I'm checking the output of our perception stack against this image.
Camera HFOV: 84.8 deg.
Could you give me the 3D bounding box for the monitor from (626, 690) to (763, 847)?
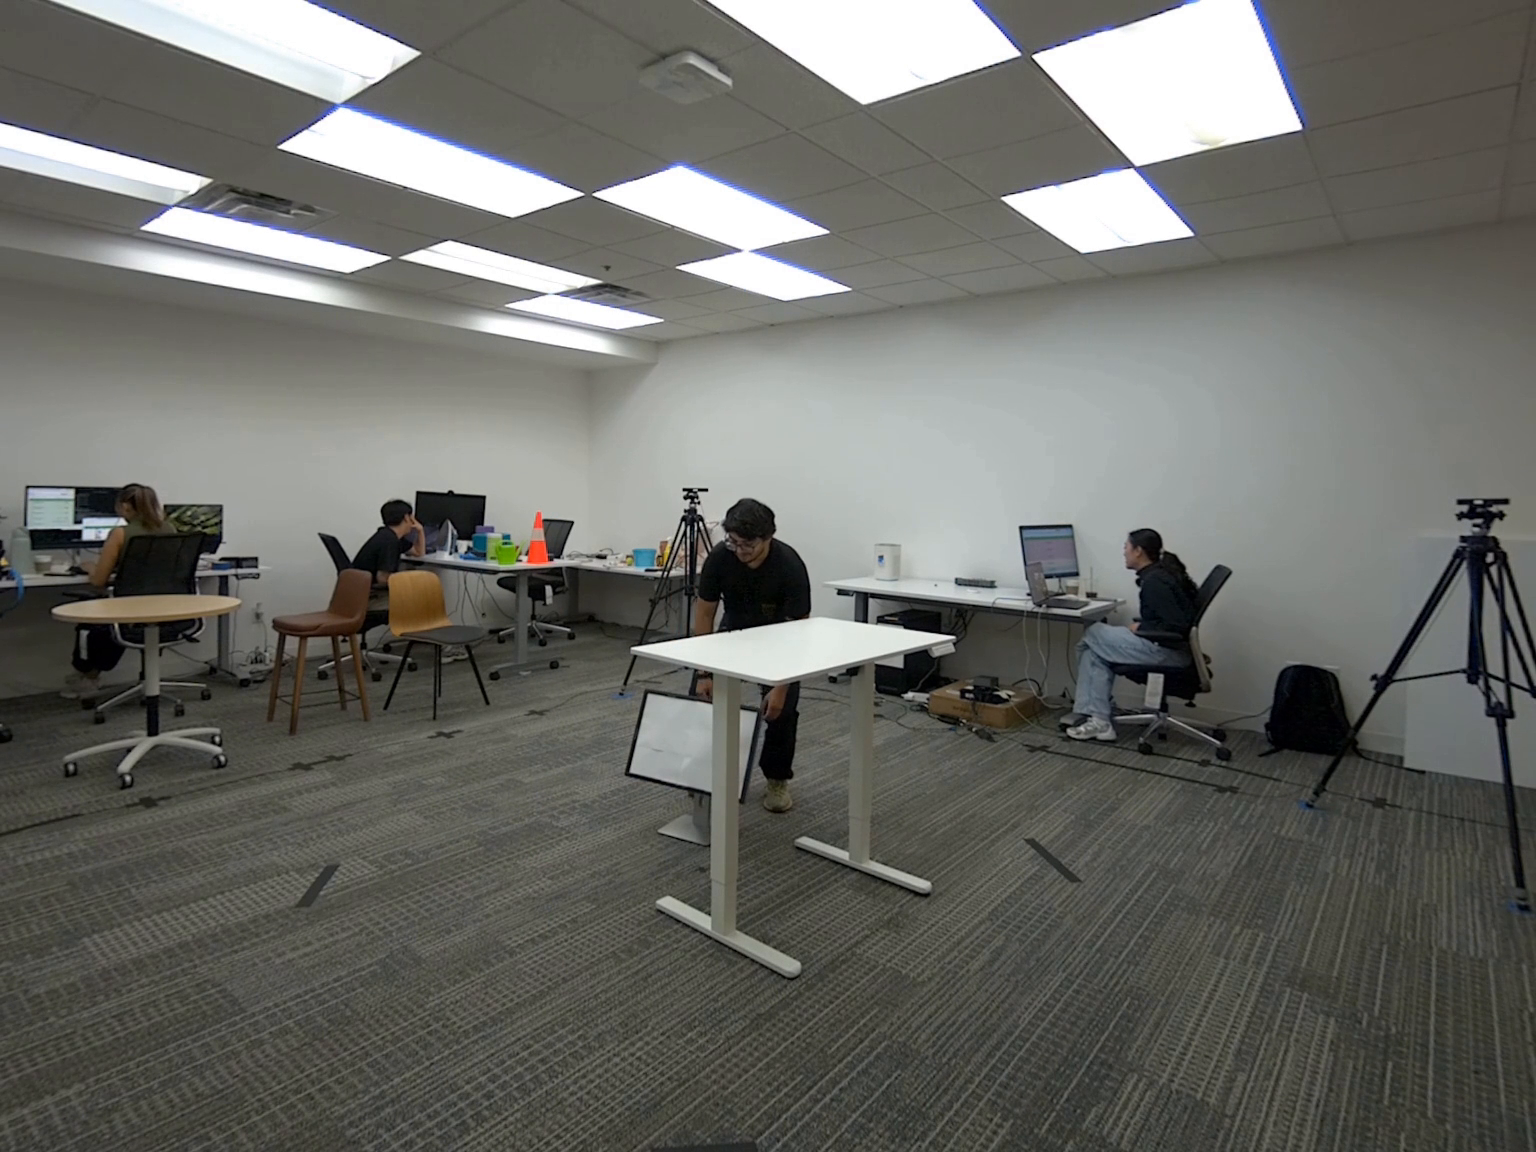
[{"bbox_3d":[-0.287,0.768,3.465,0.582,0.556,0.203,4,-6,30],"label":"monitor"}]
